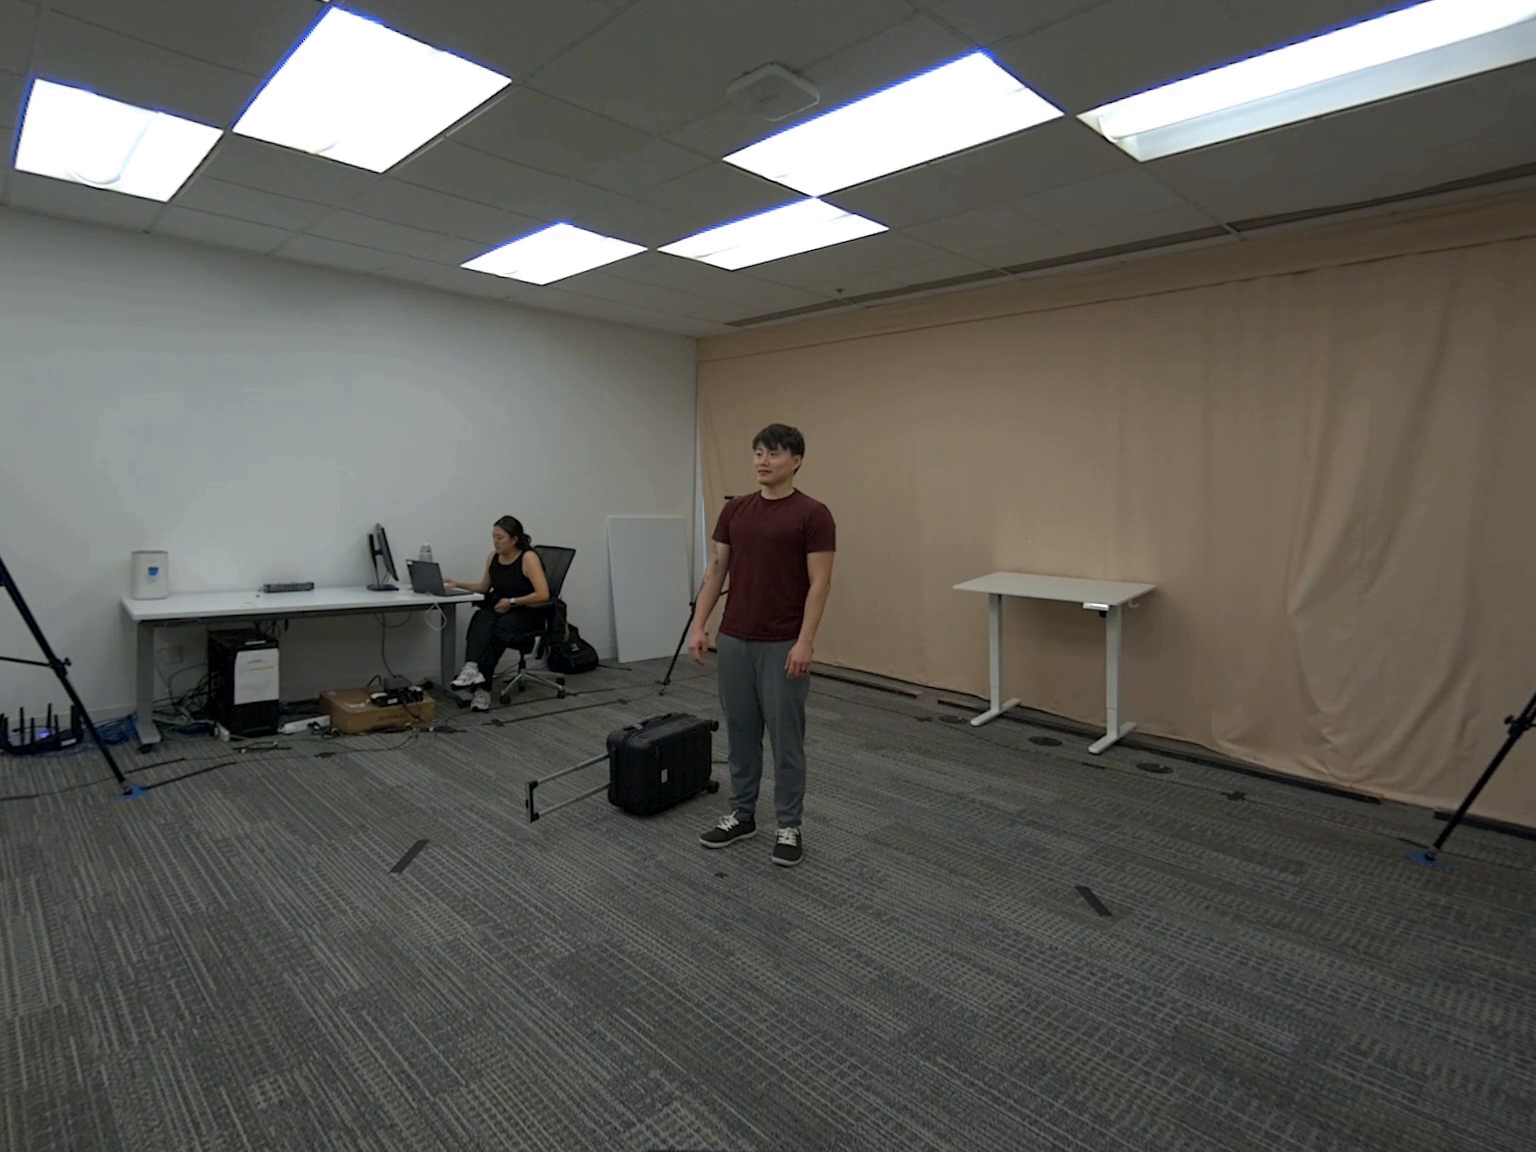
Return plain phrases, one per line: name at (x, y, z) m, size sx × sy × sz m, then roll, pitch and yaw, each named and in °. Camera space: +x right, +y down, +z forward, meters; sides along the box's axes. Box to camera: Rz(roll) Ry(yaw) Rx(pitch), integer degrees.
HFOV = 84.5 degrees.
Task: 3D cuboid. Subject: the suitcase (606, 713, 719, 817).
suitcase at (-0.602, 0.856, 3.668) m, size 0.263 × 0.383 × 0.959 m, roll 1°, pitch 4°, yaw 32°
